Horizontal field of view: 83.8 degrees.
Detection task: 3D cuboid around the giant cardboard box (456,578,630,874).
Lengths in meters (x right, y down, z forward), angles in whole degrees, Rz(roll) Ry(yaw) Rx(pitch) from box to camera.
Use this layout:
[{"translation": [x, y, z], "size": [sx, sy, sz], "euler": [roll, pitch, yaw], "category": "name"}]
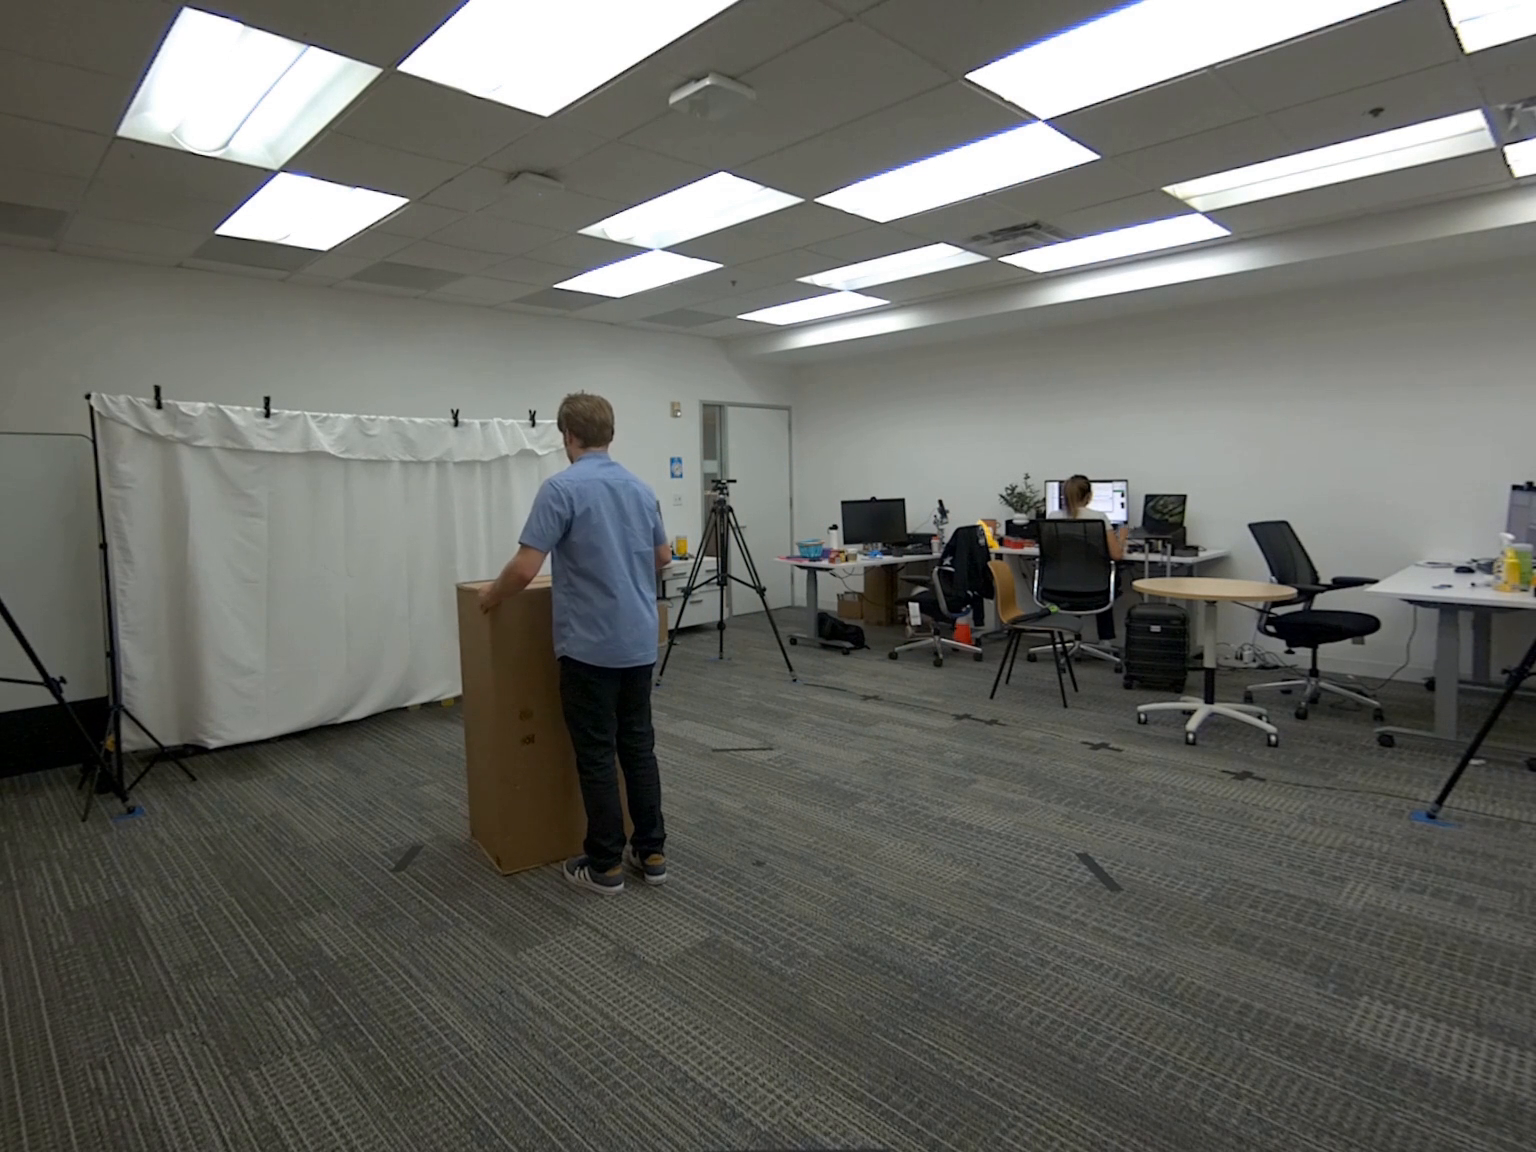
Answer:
[{"translation": [-0.856, 0.530, 3.358], "size": [0.564, 1.022, 0.438], "euler": [-4, 5, -32], "category": "giant cardboard box"}]
